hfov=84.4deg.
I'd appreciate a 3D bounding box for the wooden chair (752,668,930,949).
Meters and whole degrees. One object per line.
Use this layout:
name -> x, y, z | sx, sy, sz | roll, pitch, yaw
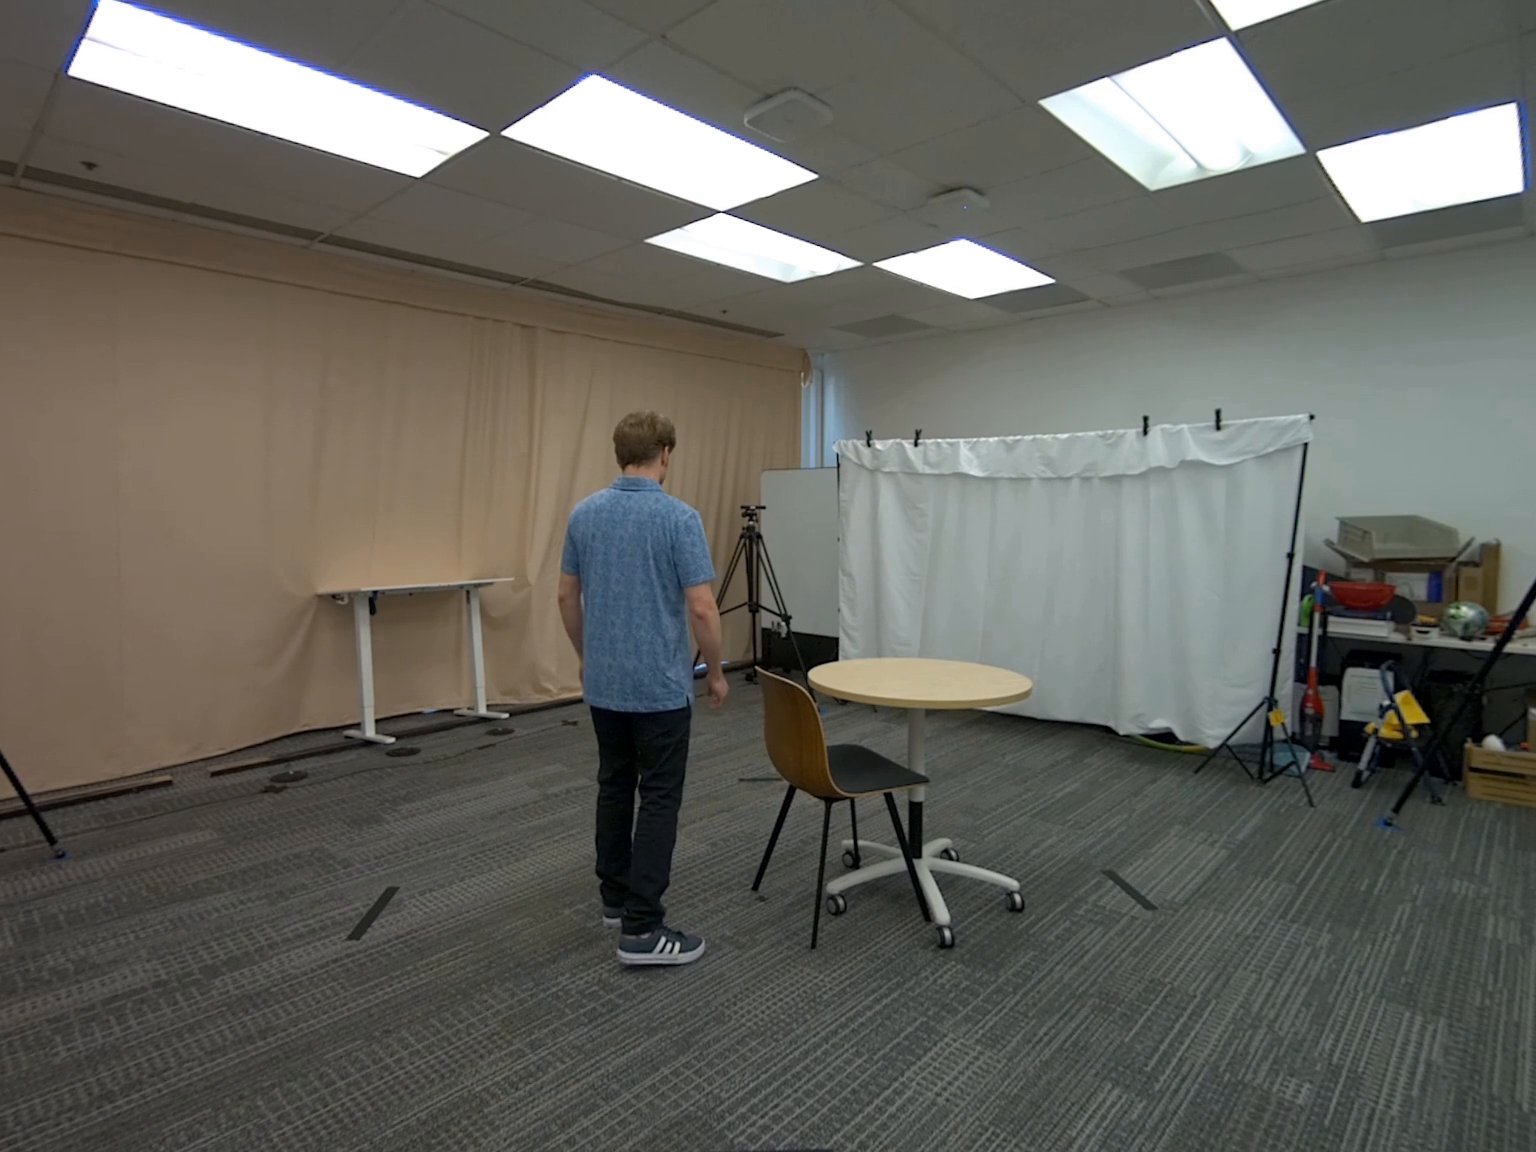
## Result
wooden chair -> 0.252, 0.721, 2.904 | 0.511, 0.874, 0.490 | -6, 5, -25
